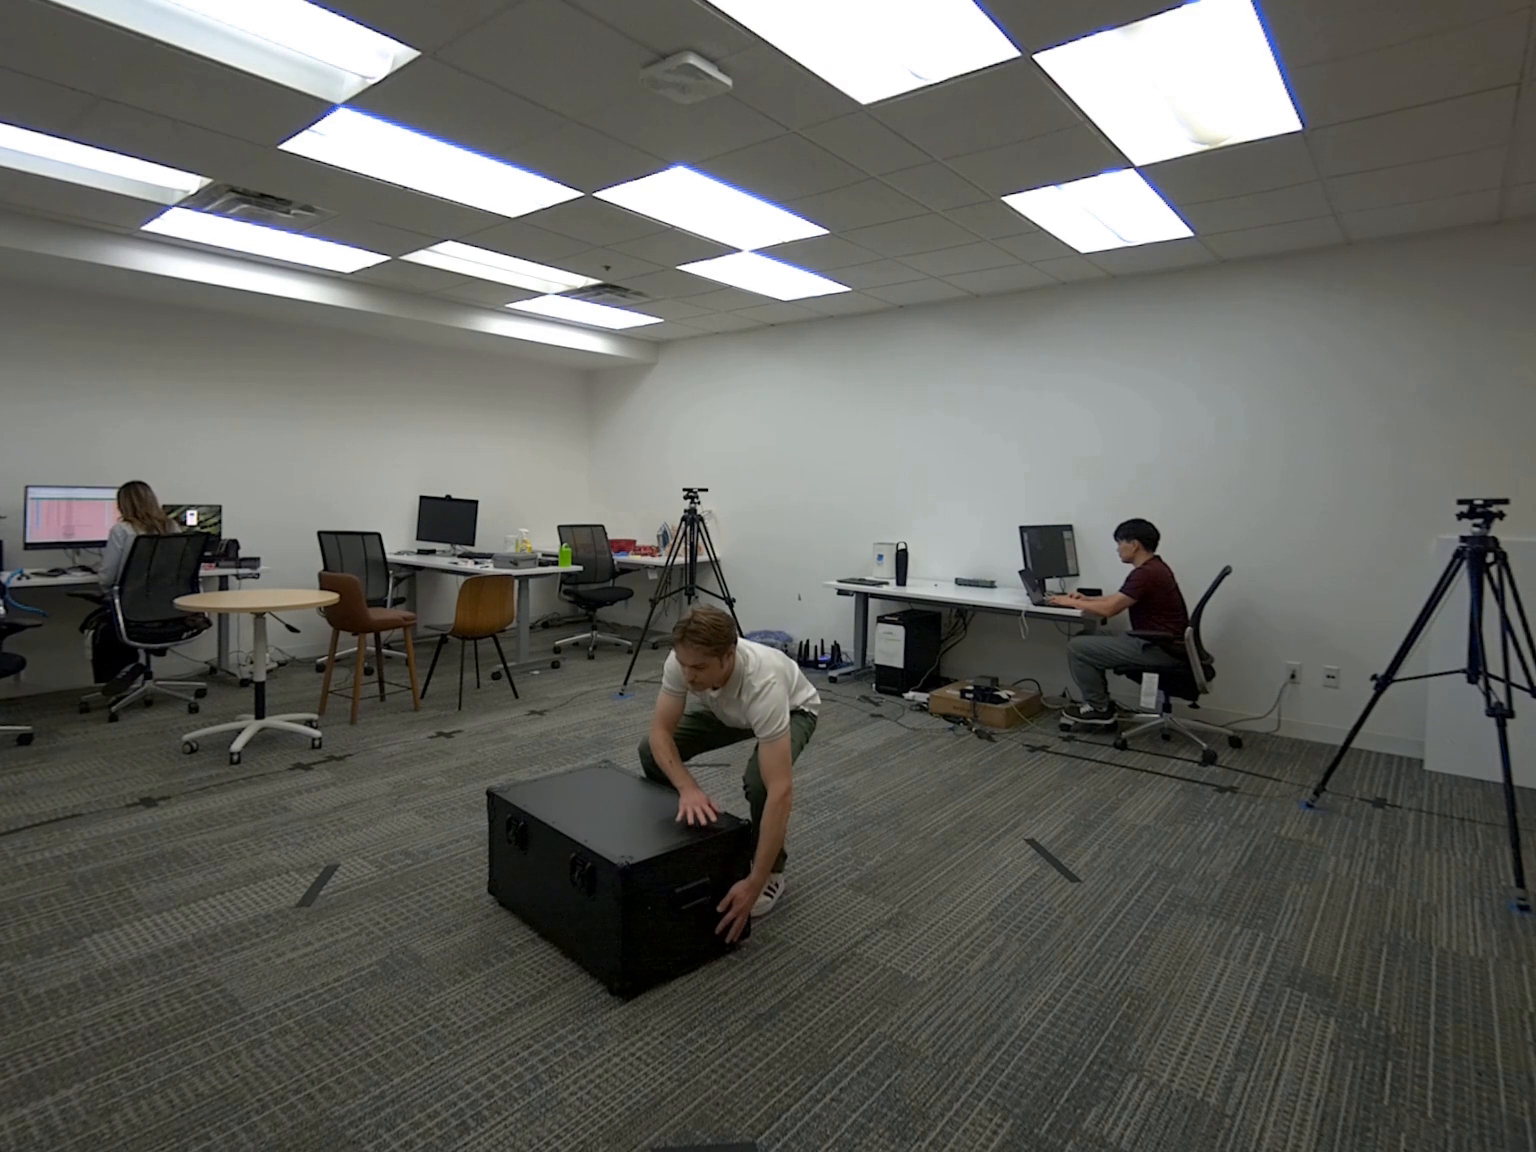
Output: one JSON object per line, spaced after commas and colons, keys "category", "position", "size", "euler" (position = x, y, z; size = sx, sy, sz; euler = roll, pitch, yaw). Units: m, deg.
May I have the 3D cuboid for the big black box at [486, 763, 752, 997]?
{"category": "big black box", "position": [-0.522, 0.902, 2.745], "size": [0.508, 0.383, 0.898], "euler": [-5, 8, -42]}
